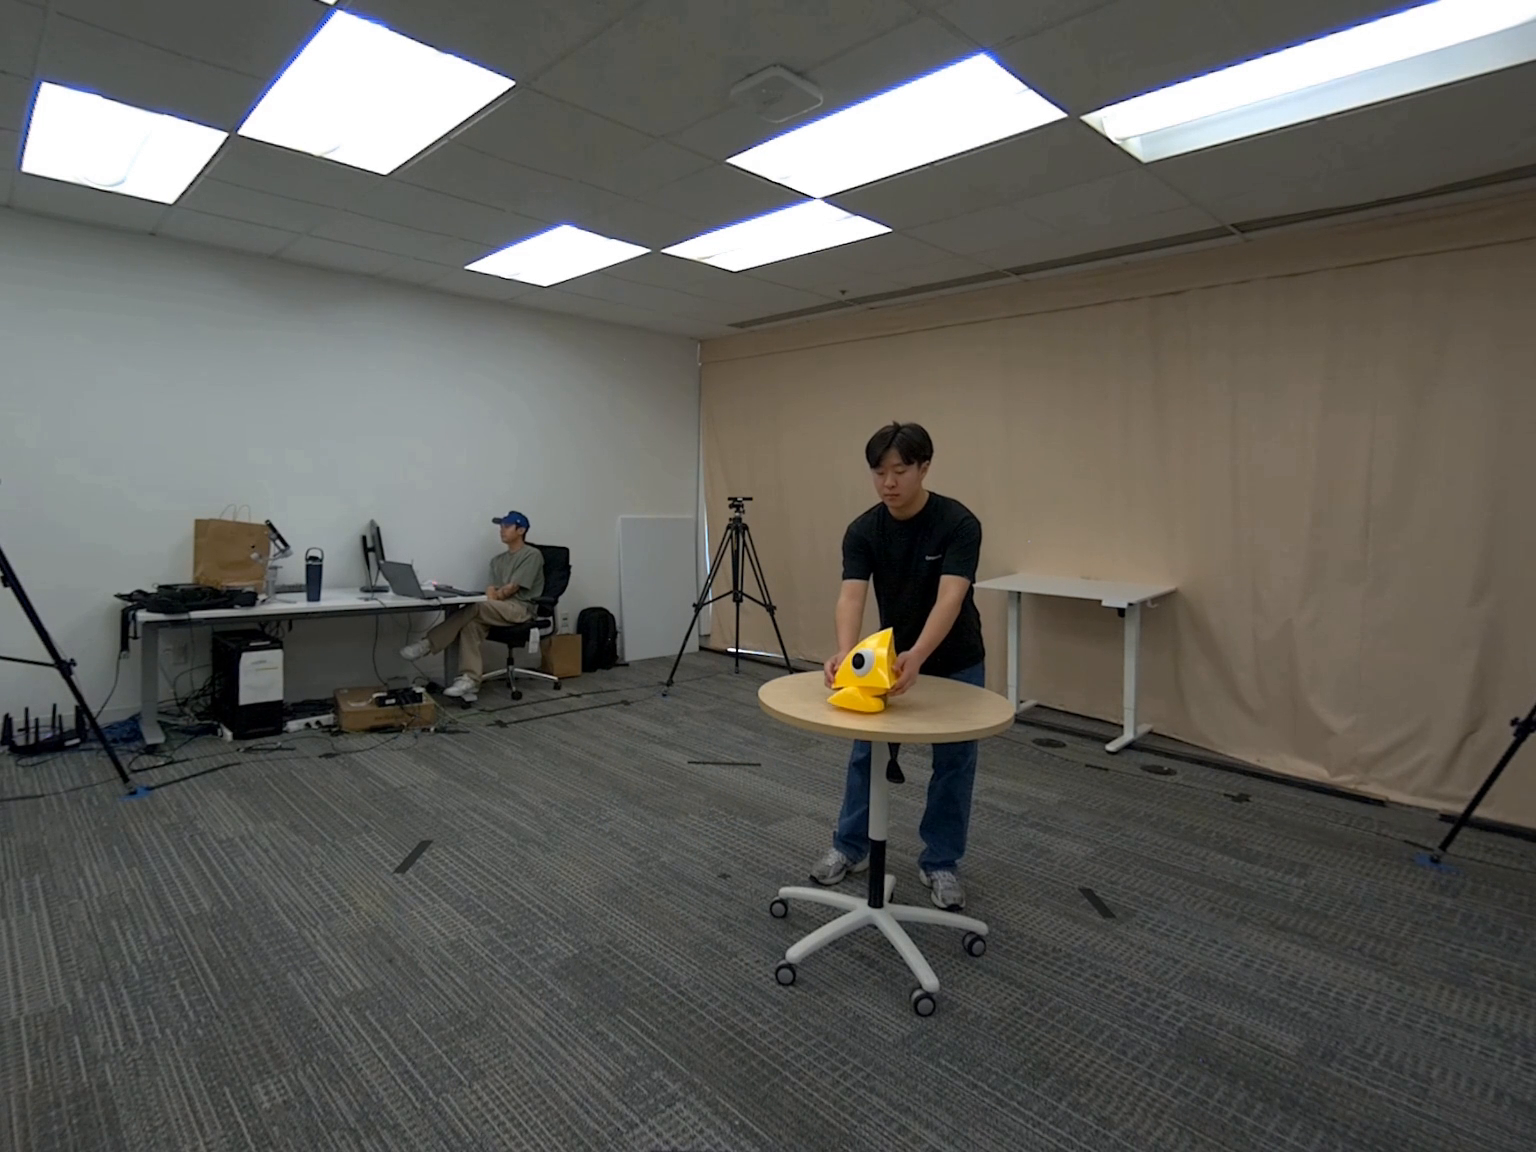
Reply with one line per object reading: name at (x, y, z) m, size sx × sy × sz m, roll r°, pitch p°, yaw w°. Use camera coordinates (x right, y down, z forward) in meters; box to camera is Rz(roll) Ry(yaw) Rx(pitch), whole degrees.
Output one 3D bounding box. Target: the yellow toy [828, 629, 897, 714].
yellow toy at (0.283, 0.256, 2.440) m, size 0.196 × 0.230 × 0.202 m, roll 6°, pitch 4°, yaw 19°
